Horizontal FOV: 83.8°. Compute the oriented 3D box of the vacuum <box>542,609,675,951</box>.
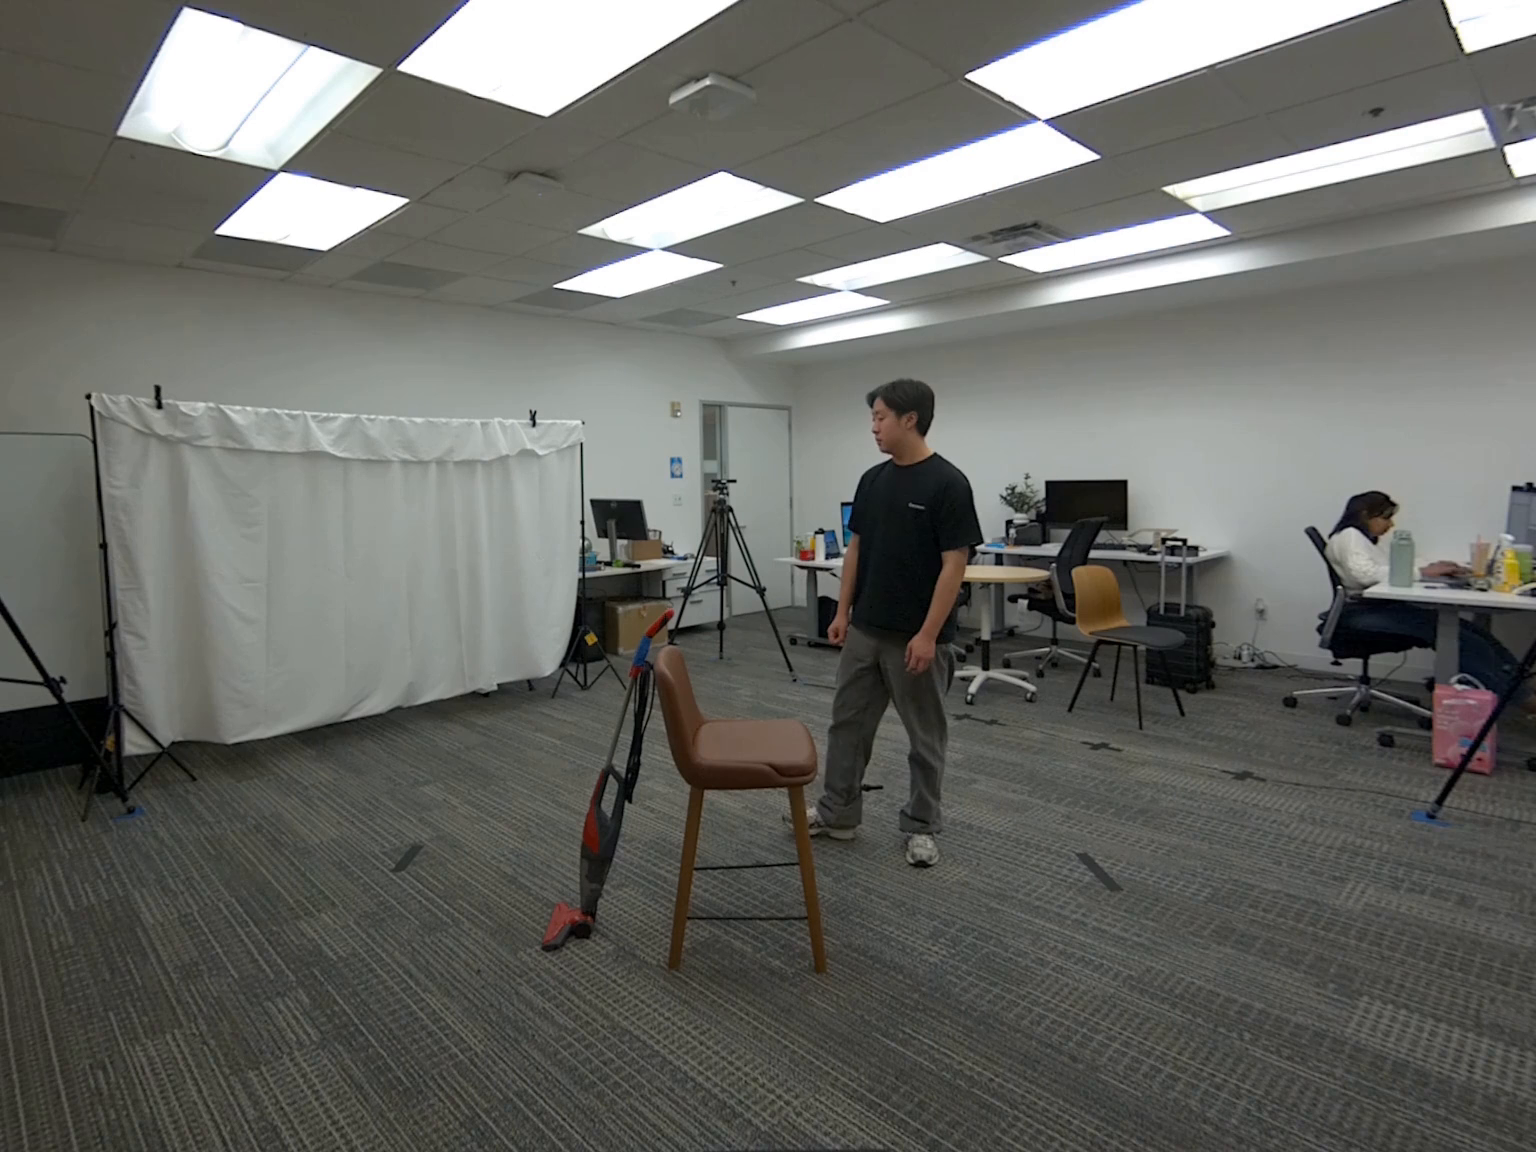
[{"bbox_3d":[-0.468,0.605,2.662,0.142,1.048,0.257,16,2,-14],"label":"vacuum"}]
